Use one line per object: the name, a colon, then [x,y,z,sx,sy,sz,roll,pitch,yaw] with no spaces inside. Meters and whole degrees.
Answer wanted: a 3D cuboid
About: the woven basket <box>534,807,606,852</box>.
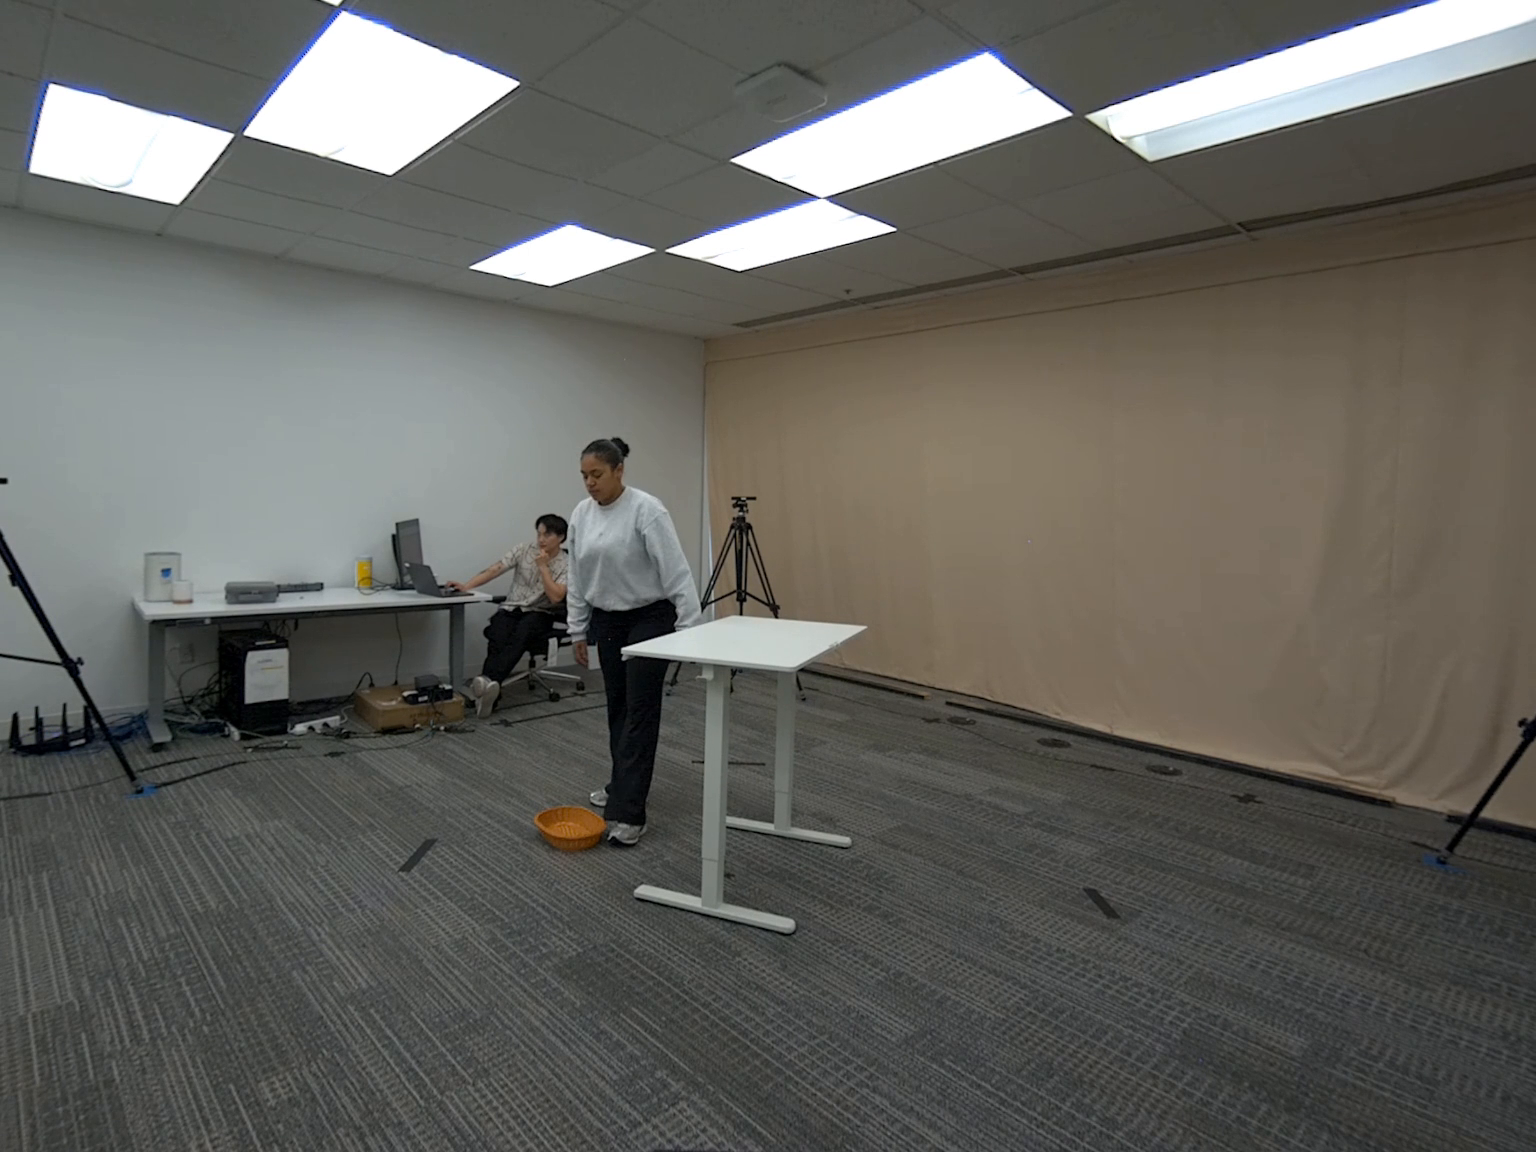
woven basket: [-0.812,1.022,3.409,0.247,0.073,0.359,-3,7,-40]
